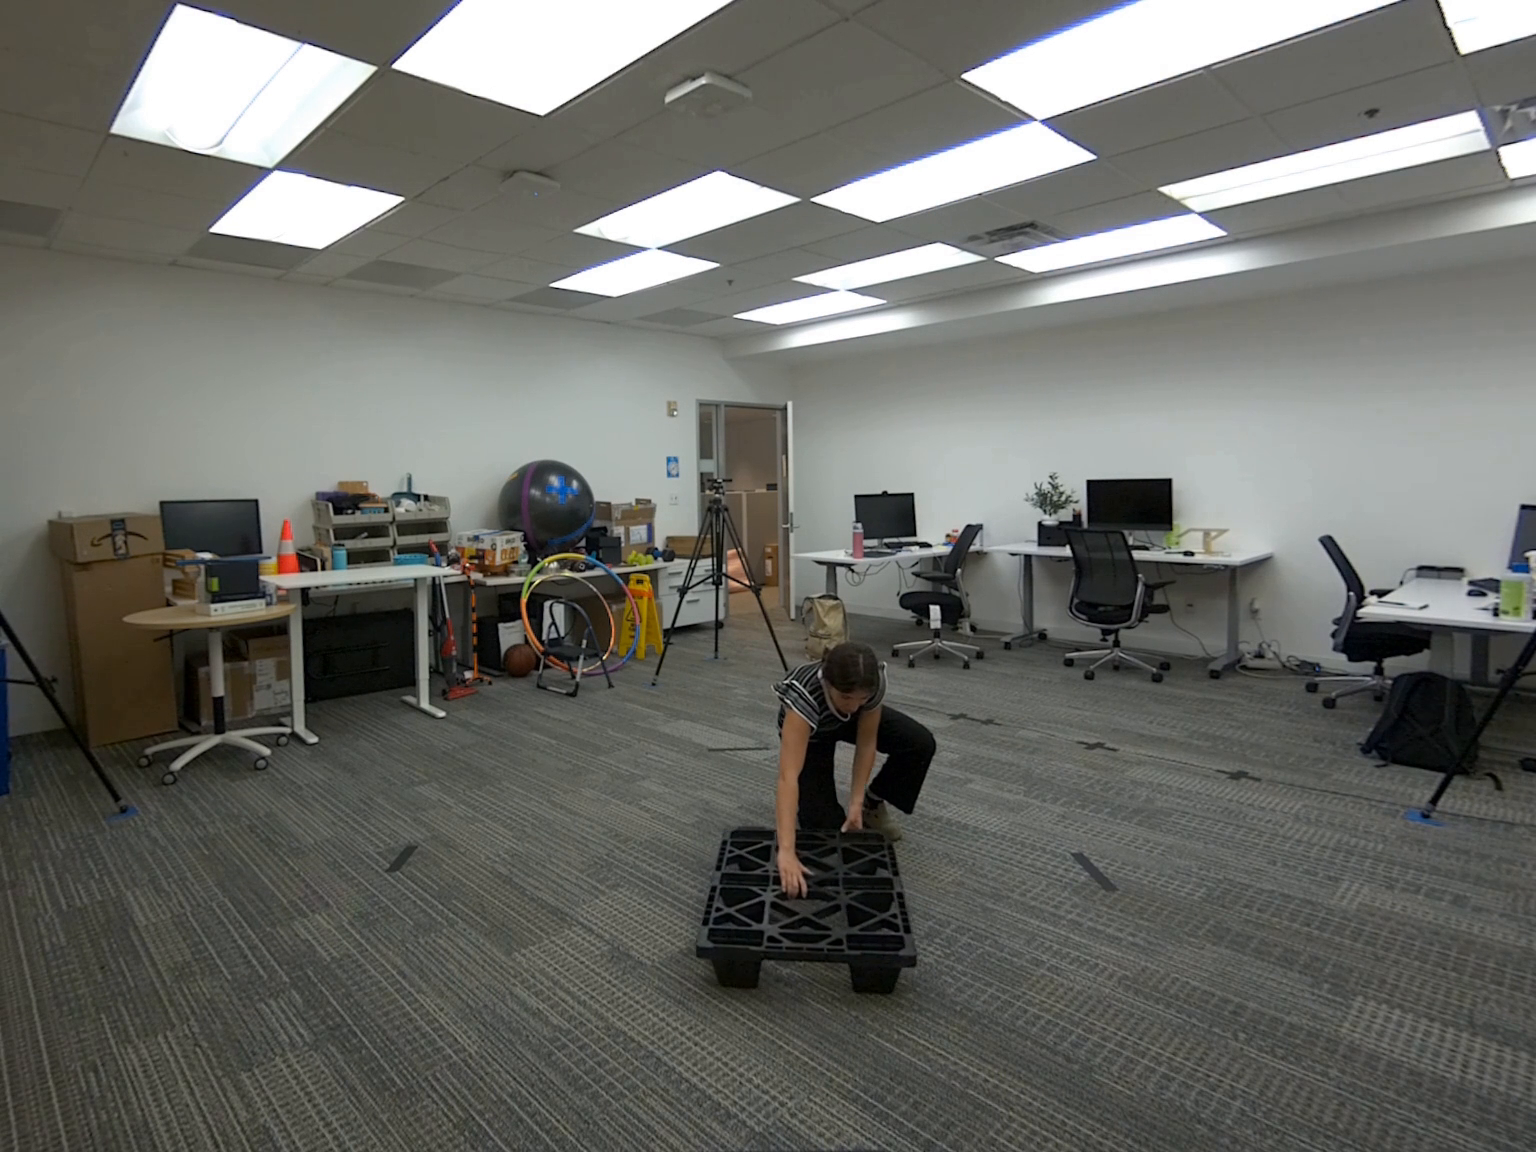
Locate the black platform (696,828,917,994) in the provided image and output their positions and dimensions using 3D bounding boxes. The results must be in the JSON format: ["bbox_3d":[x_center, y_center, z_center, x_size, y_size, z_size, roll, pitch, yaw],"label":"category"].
[{"bbox_3d":[0.120,1.021,2.688,0.608,0.142,0.805,-2,6,4],"label":"black platform"}]
